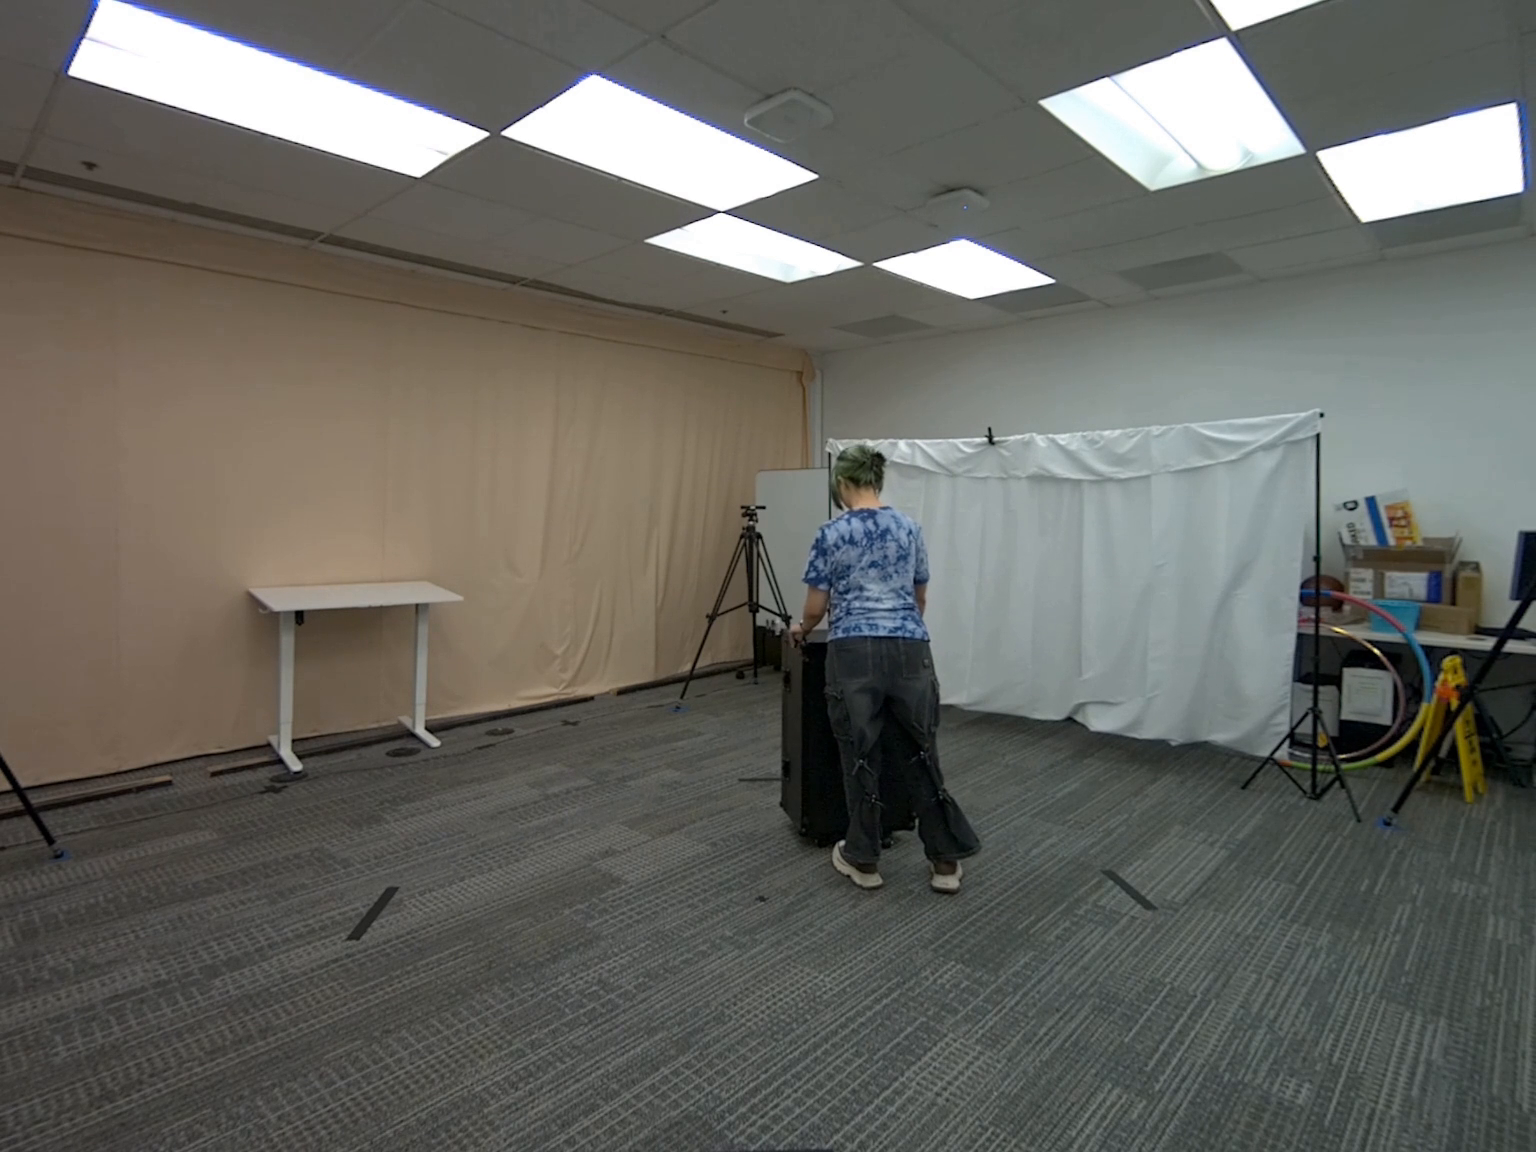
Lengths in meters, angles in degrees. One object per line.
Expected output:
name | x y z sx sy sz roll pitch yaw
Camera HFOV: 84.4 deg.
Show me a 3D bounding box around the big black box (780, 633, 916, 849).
big black box | 0.340 0.678 3.545 0.517 0.859 0.401 1 4 -8
